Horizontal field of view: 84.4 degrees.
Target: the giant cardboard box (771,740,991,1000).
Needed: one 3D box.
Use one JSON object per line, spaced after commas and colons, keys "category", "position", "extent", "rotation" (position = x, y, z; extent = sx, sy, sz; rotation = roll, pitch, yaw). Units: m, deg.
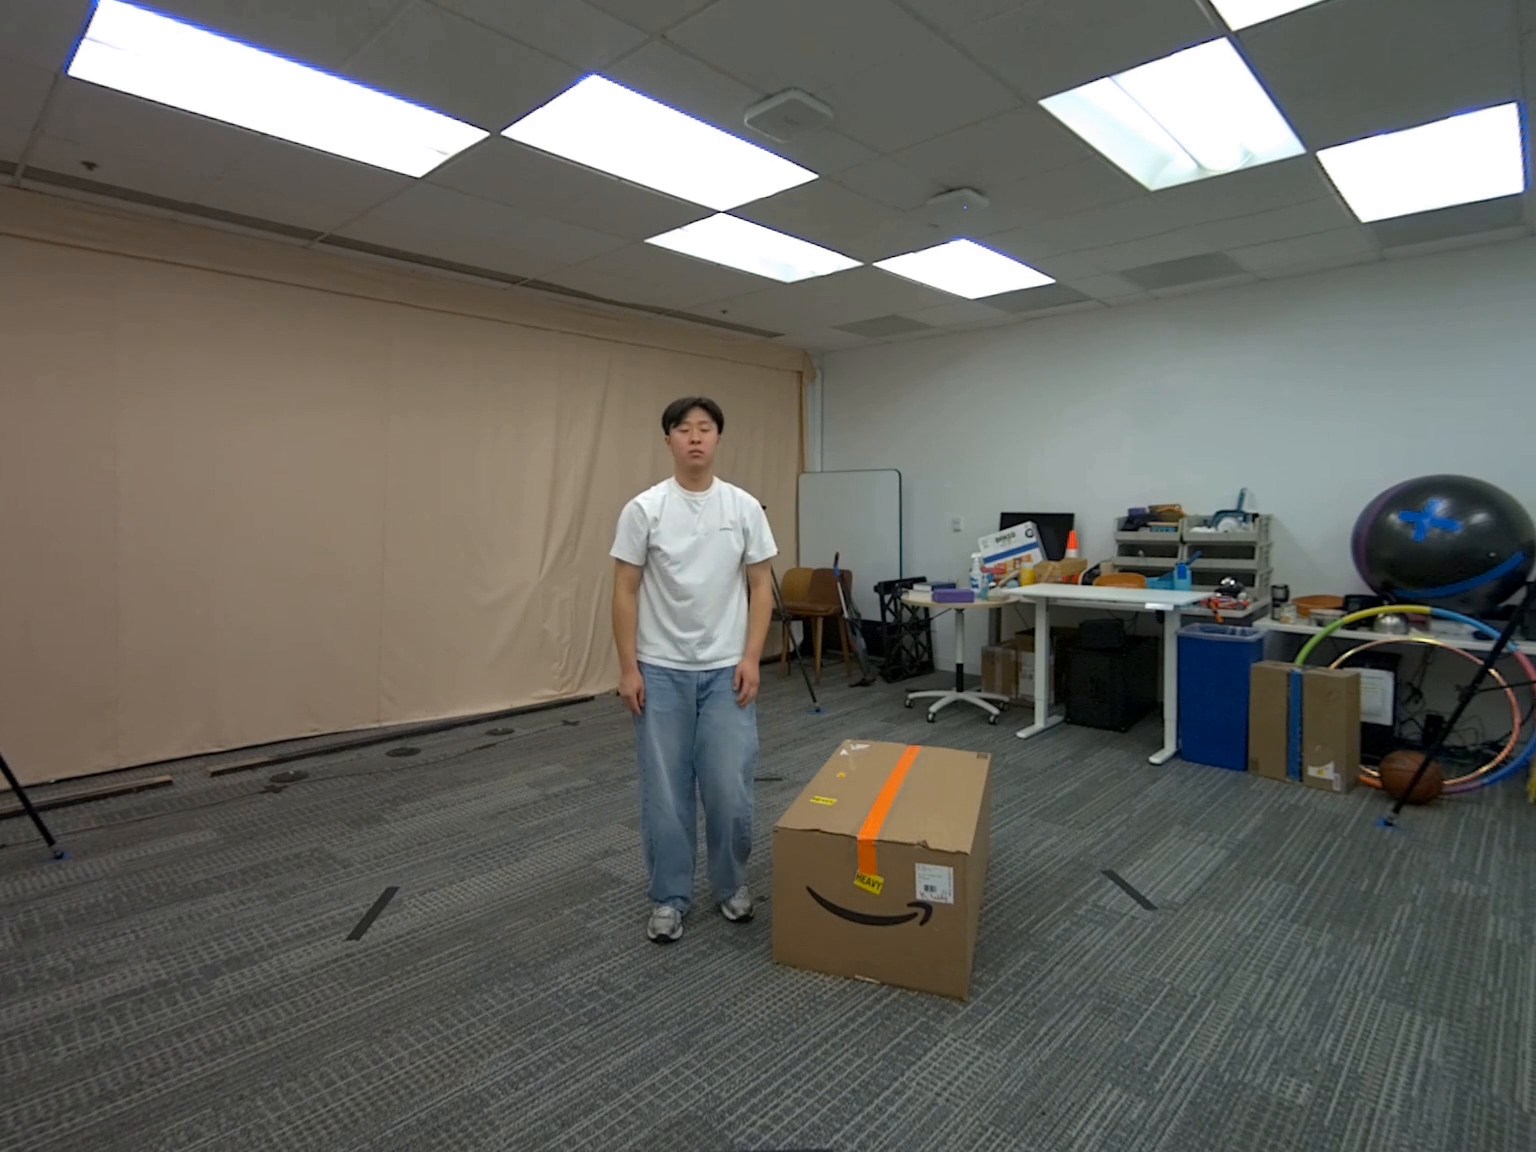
{"category": "giant cardboard box", "position": [0.445, 0.931, 2.922], "extent": [0.589, 0.425, 1.007], "rotation": [1, 5, 18]}
